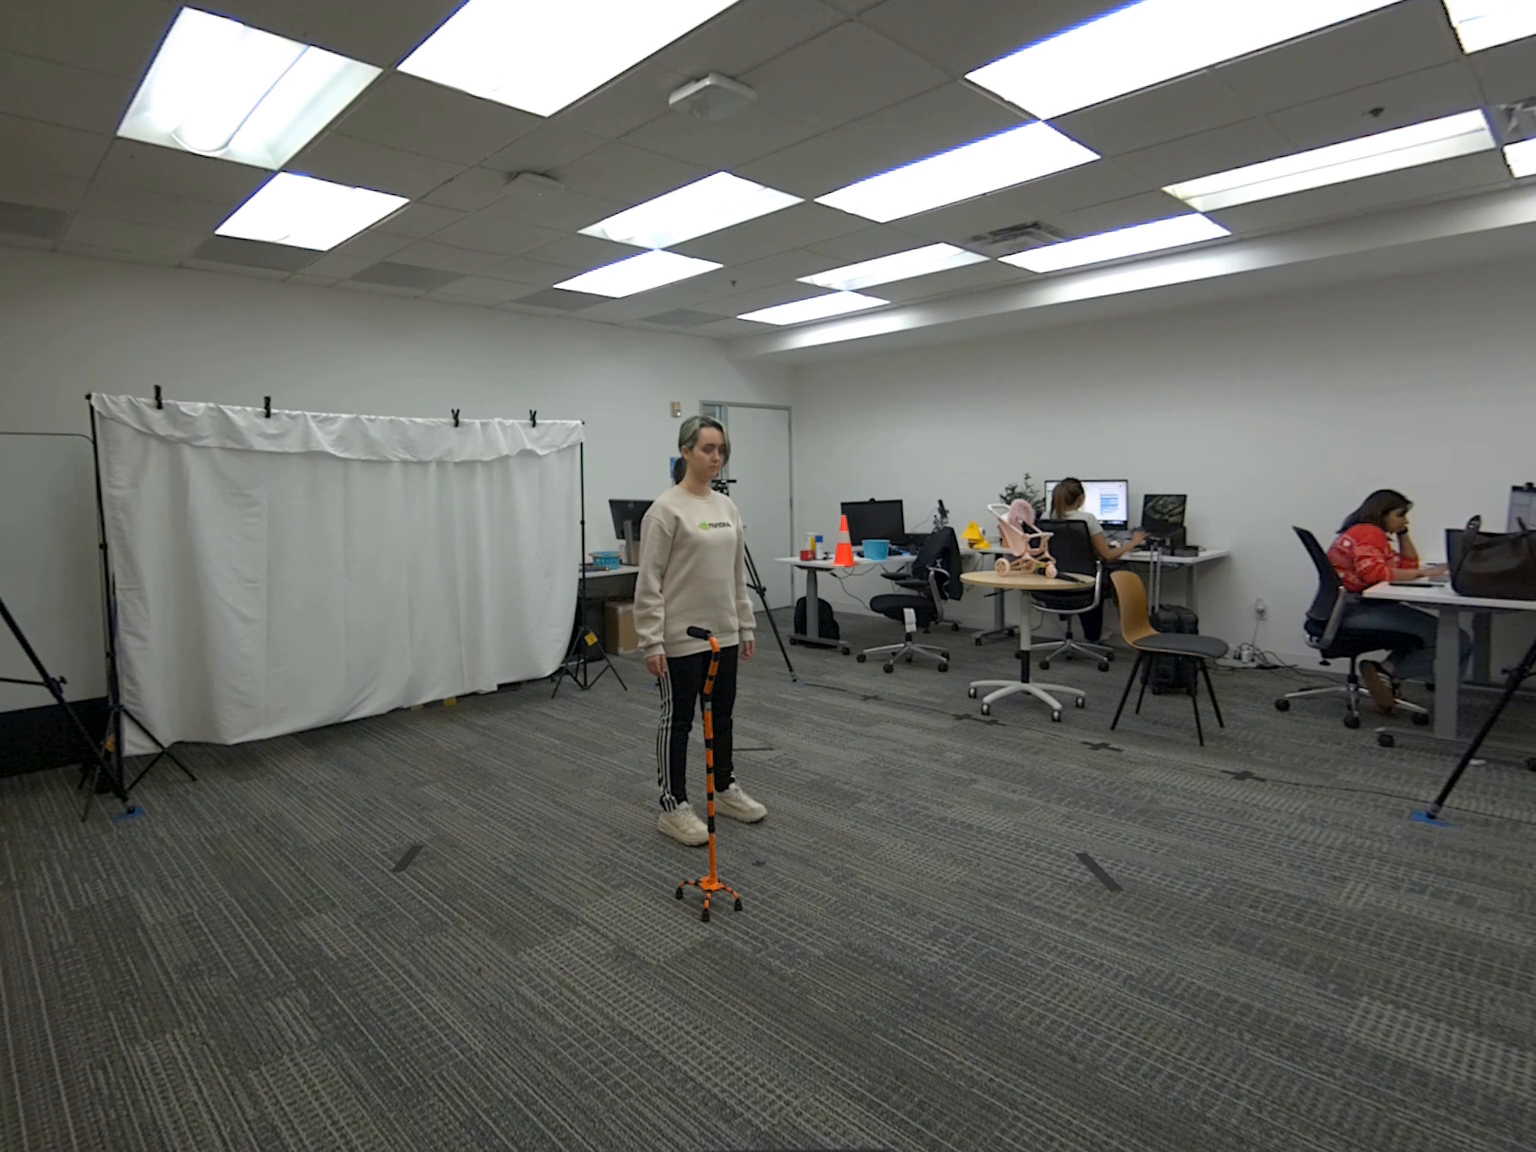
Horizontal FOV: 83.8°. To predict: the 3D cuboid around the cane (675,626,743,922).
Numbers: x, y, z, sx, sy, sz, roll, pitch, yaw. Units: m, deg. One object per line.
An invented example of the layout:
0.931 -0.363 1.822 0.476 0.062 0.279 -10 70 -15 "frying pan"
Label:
-0.204 0.632 2.797 0.148 0.904 0.212 -4 5 -33 "cane"
